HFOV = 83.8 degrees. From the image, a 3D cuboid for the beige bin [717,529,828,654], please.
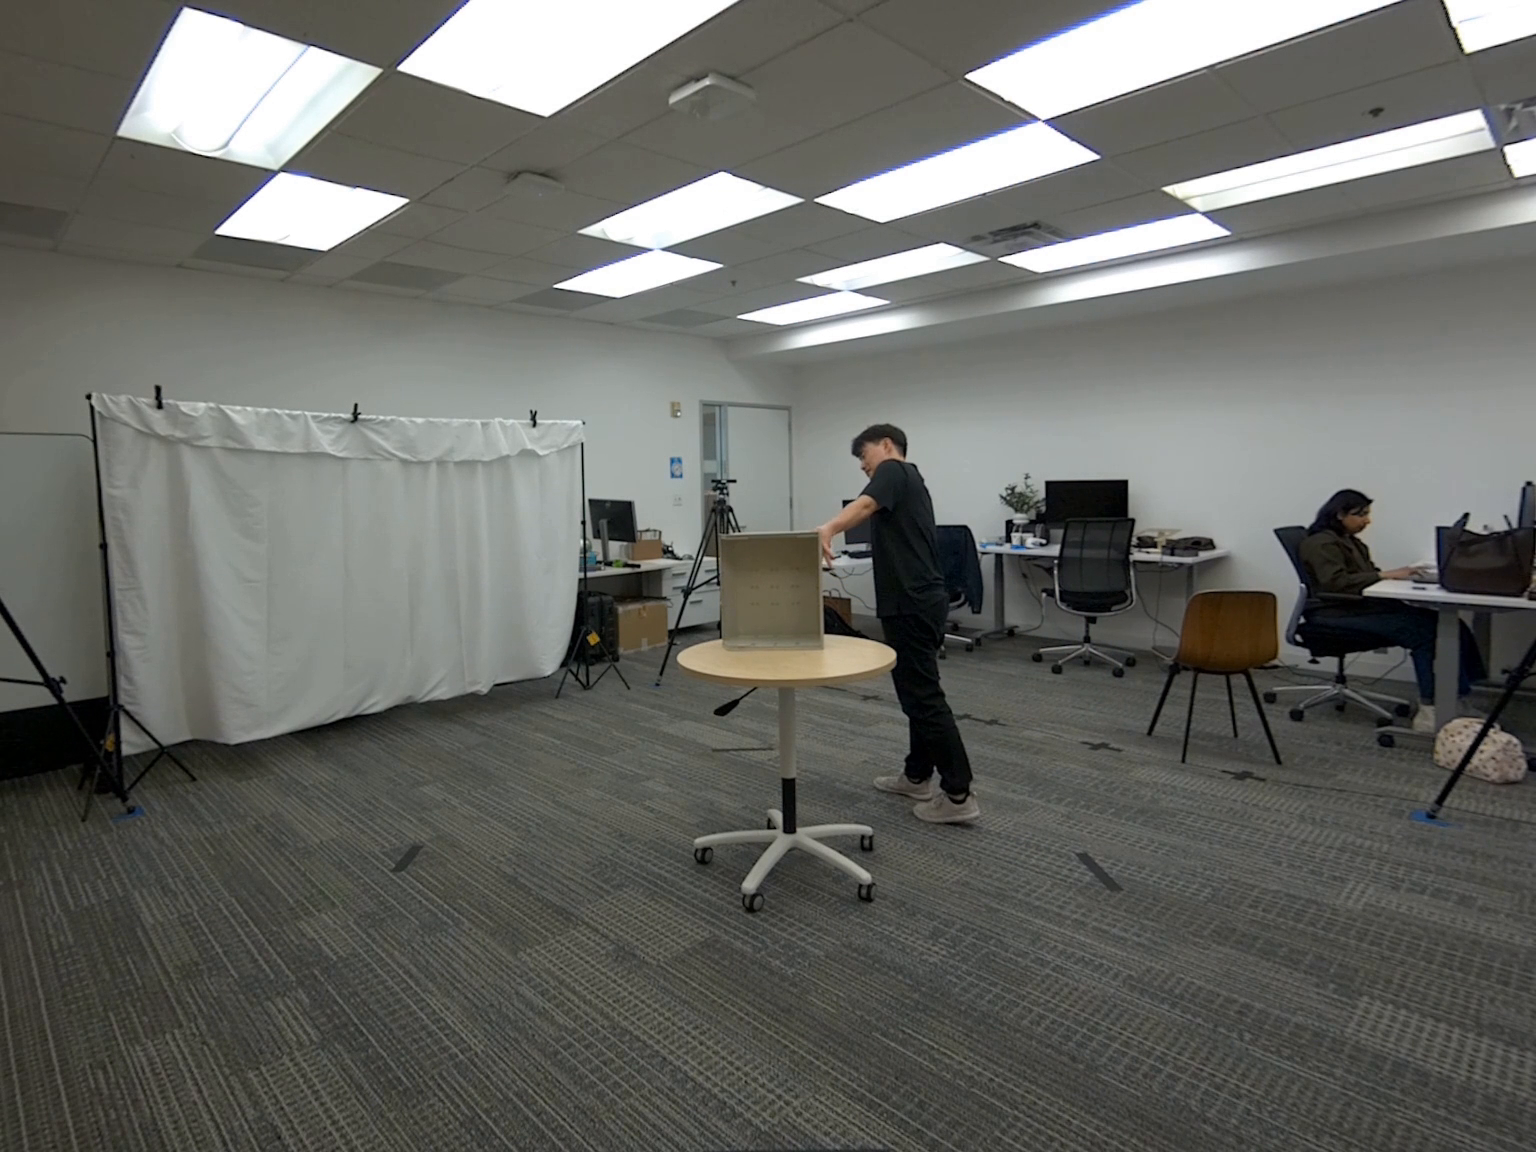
[{"bbox_3d":[0.013,0.049,3.151,0.378,0.421,0.189,-2,3,2],"label":"beige bin"}]
